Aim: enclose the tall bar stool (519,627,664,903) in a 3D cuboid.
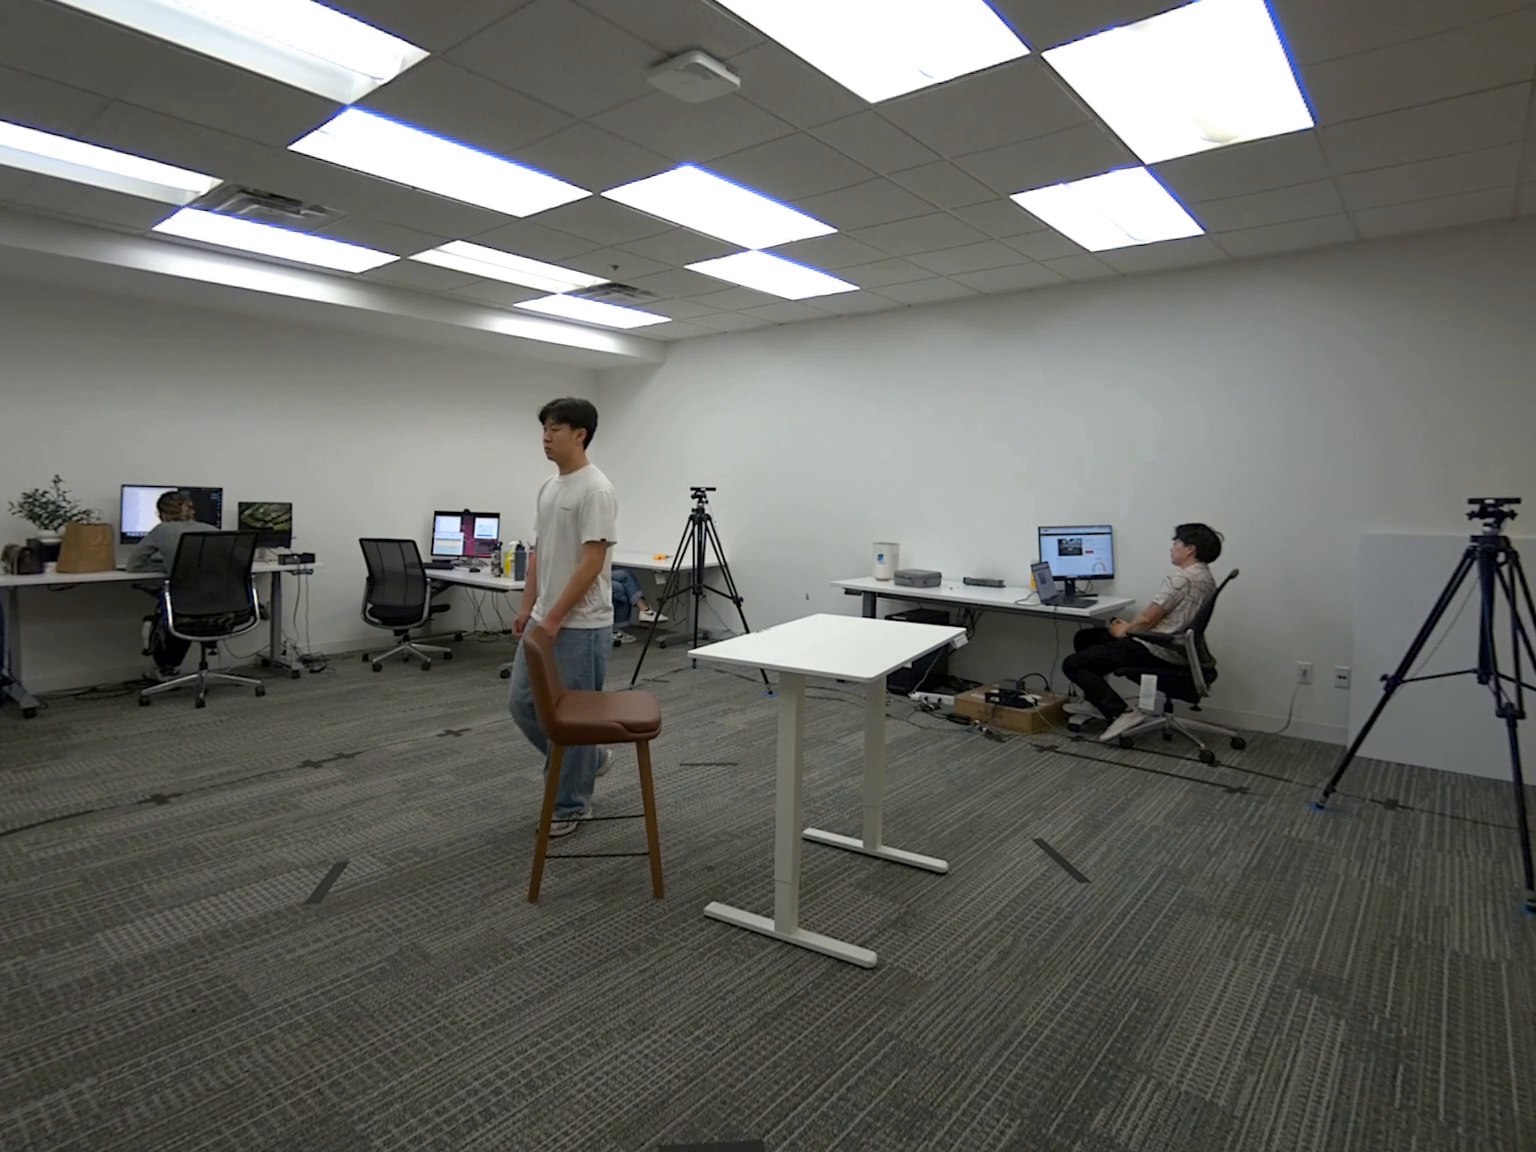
[{"bbox_3d":[-0.619,0.634,3.023,0.463,0.888,0.462,-1,3,-10],"label":"tall bar stool"}]
